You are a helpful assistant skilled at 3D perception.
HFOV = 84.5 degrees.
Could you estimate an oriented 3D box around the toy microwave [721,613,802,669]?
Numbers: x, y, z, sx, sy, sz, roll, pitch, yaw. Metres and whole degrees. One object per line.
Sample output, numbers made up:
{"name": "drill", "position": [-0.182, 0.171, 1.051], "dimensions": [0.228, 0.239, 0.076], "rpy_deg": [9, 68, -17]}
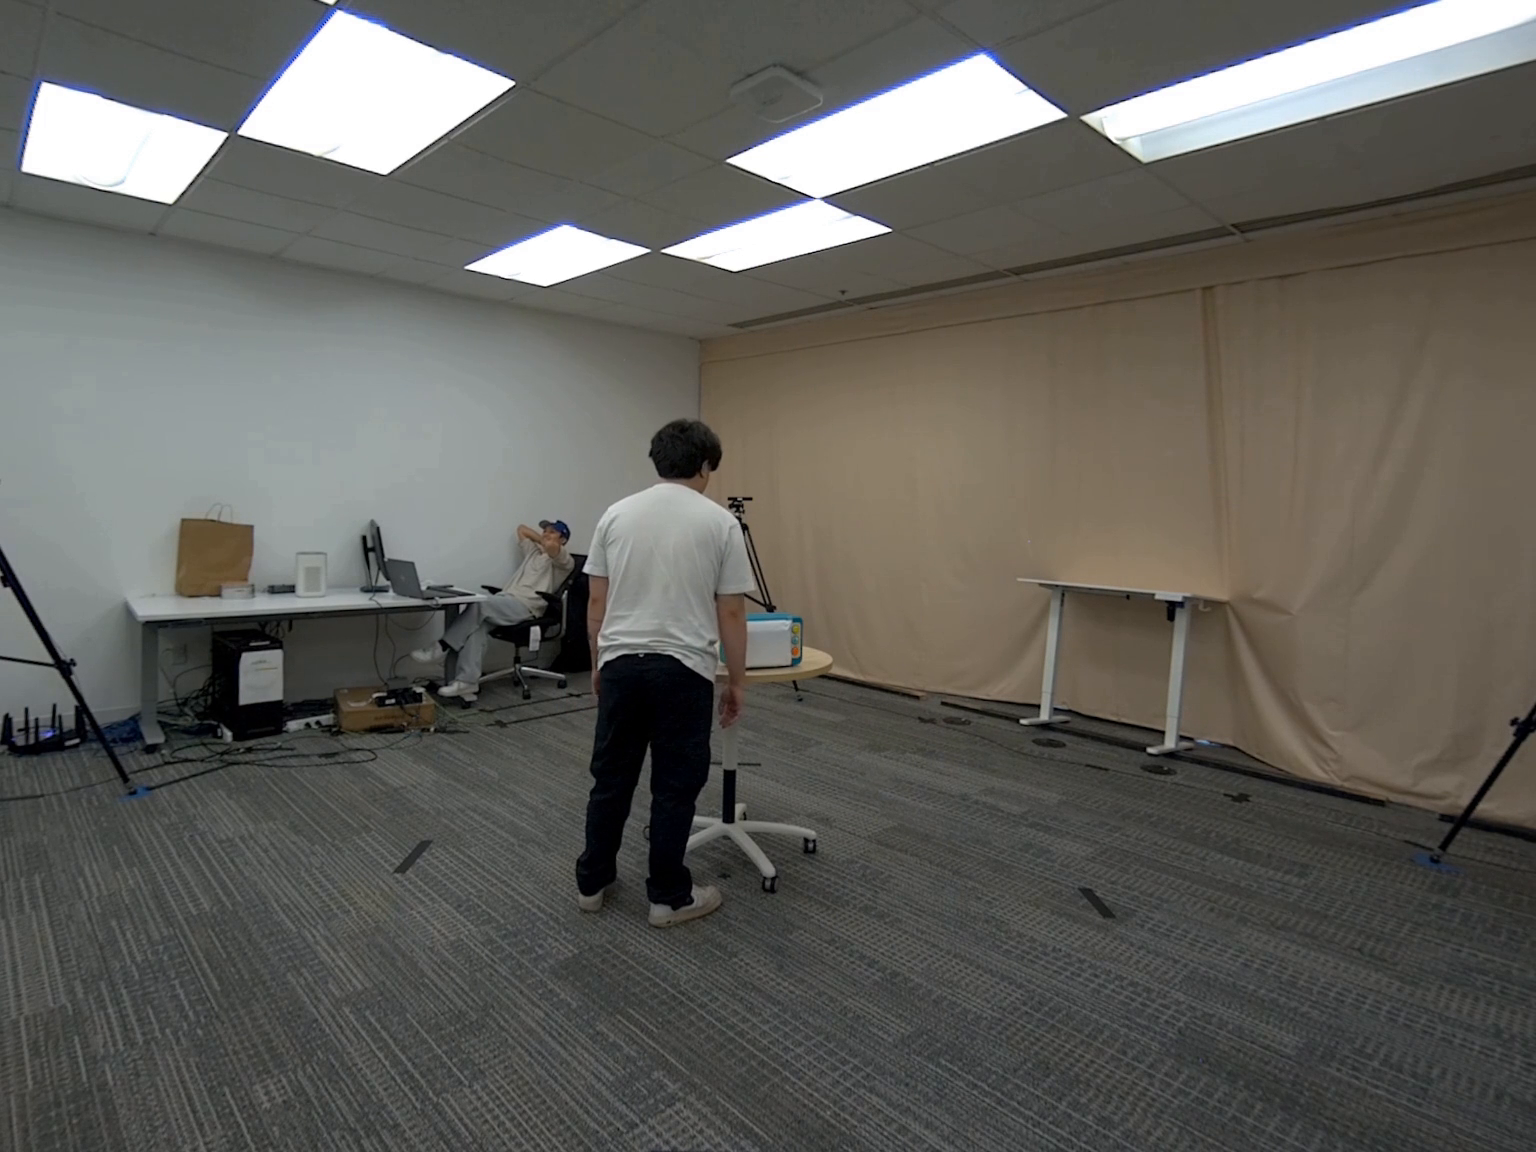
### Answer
{"name": "toy microwave", "position": [-0.024, 0.233, 3.021], "dimensions": [0.281, 0.184, 0.155], "rpy_deg": [-1, 3, -22]}
